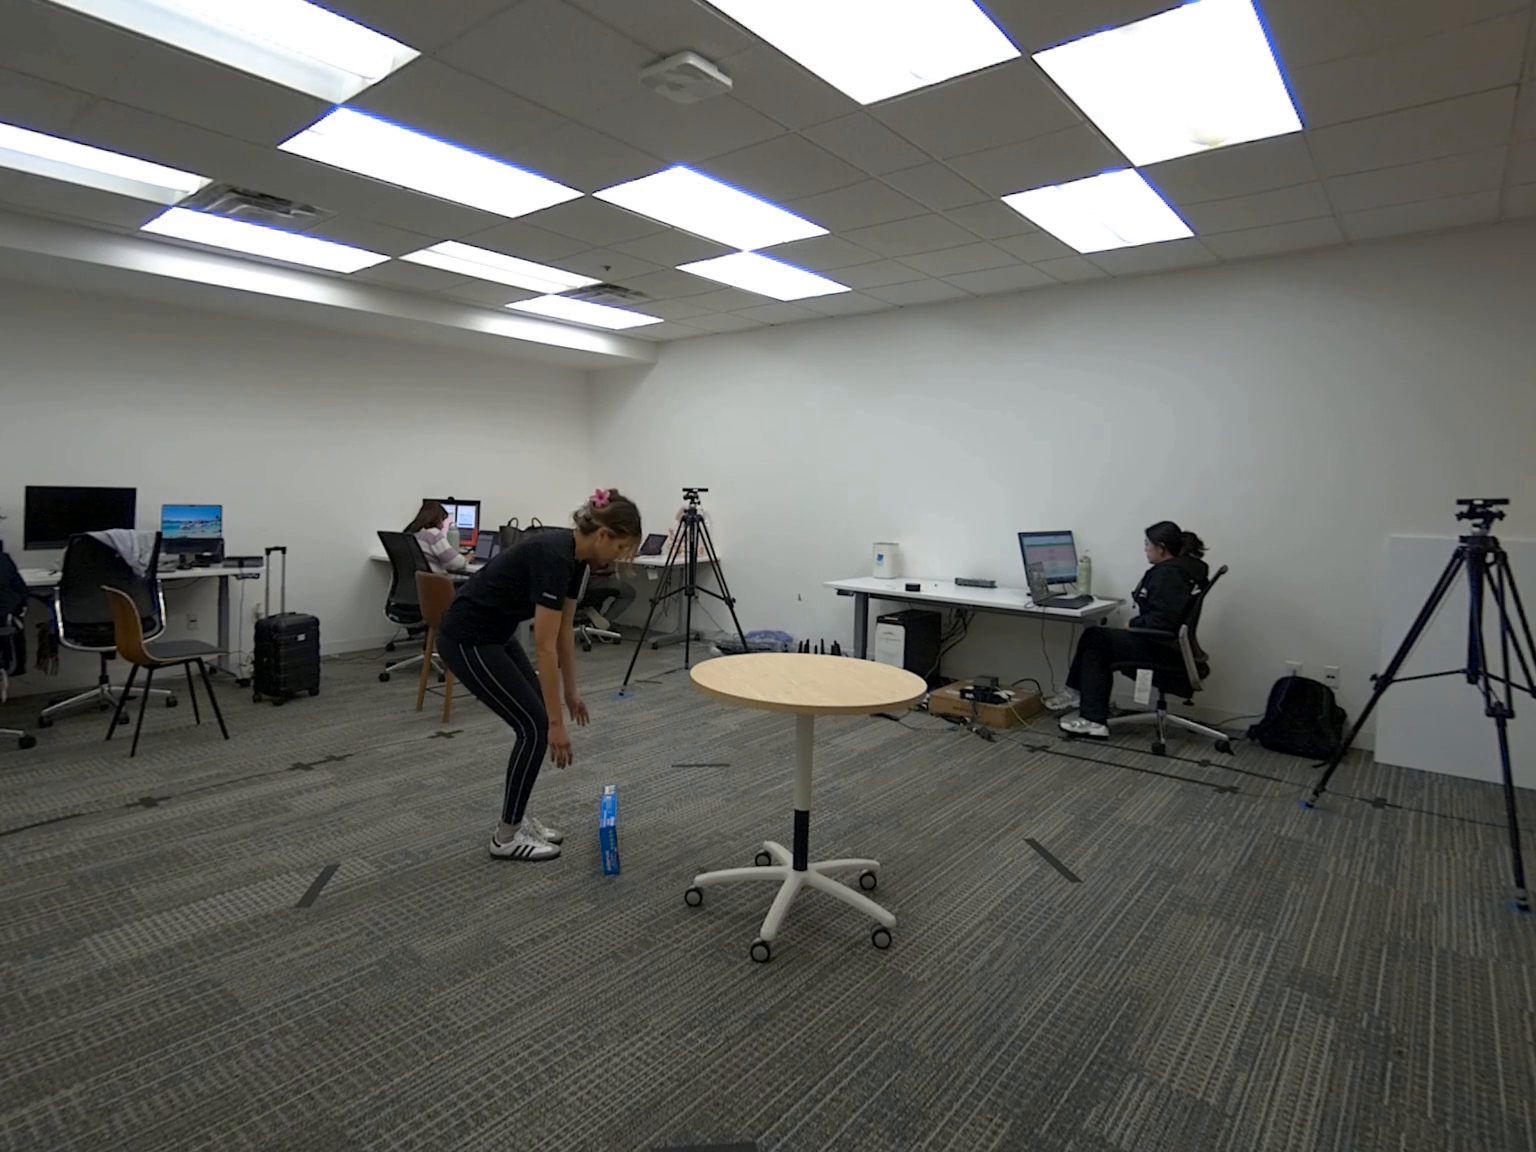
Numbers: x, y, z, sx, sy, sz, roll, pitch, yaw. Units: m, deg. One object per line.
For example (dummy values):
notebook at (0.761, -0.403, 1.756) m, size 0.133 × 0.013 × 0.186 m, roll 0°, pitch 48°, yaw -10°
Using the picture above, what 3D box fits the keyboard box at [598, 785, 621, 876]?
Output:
keyboard box at (-0.613, 0.961, 3.267) m, size 0.058 × 0.175 × 0.443 m, roll -4°, pitch 6°, yaw -9°
